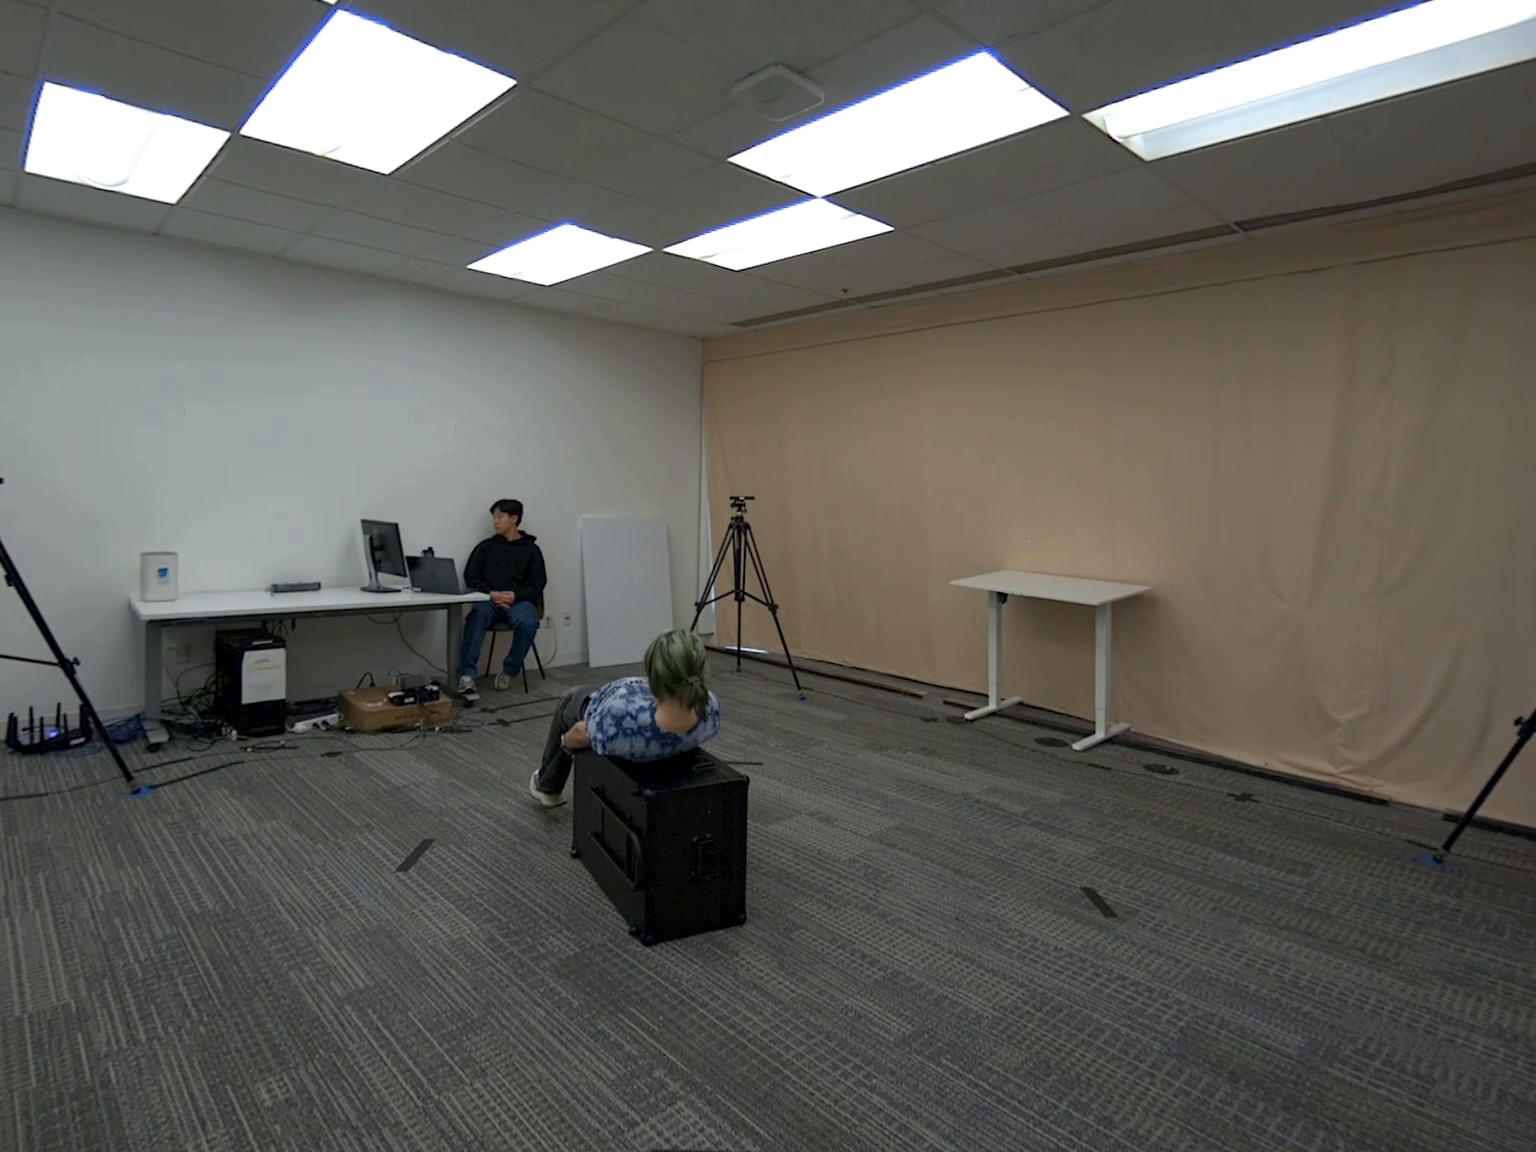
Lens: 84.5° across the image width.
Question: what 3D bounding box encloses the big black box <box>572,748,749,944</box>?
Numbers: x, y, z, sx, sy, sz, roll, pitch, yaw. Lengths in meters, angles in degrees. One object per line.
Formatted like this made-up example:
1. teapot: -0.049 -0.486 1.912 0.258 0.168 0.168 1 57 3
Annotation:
1. big black box: -0.440 0.864 3.022 0.389 0.520 0.880 0 4 -27
